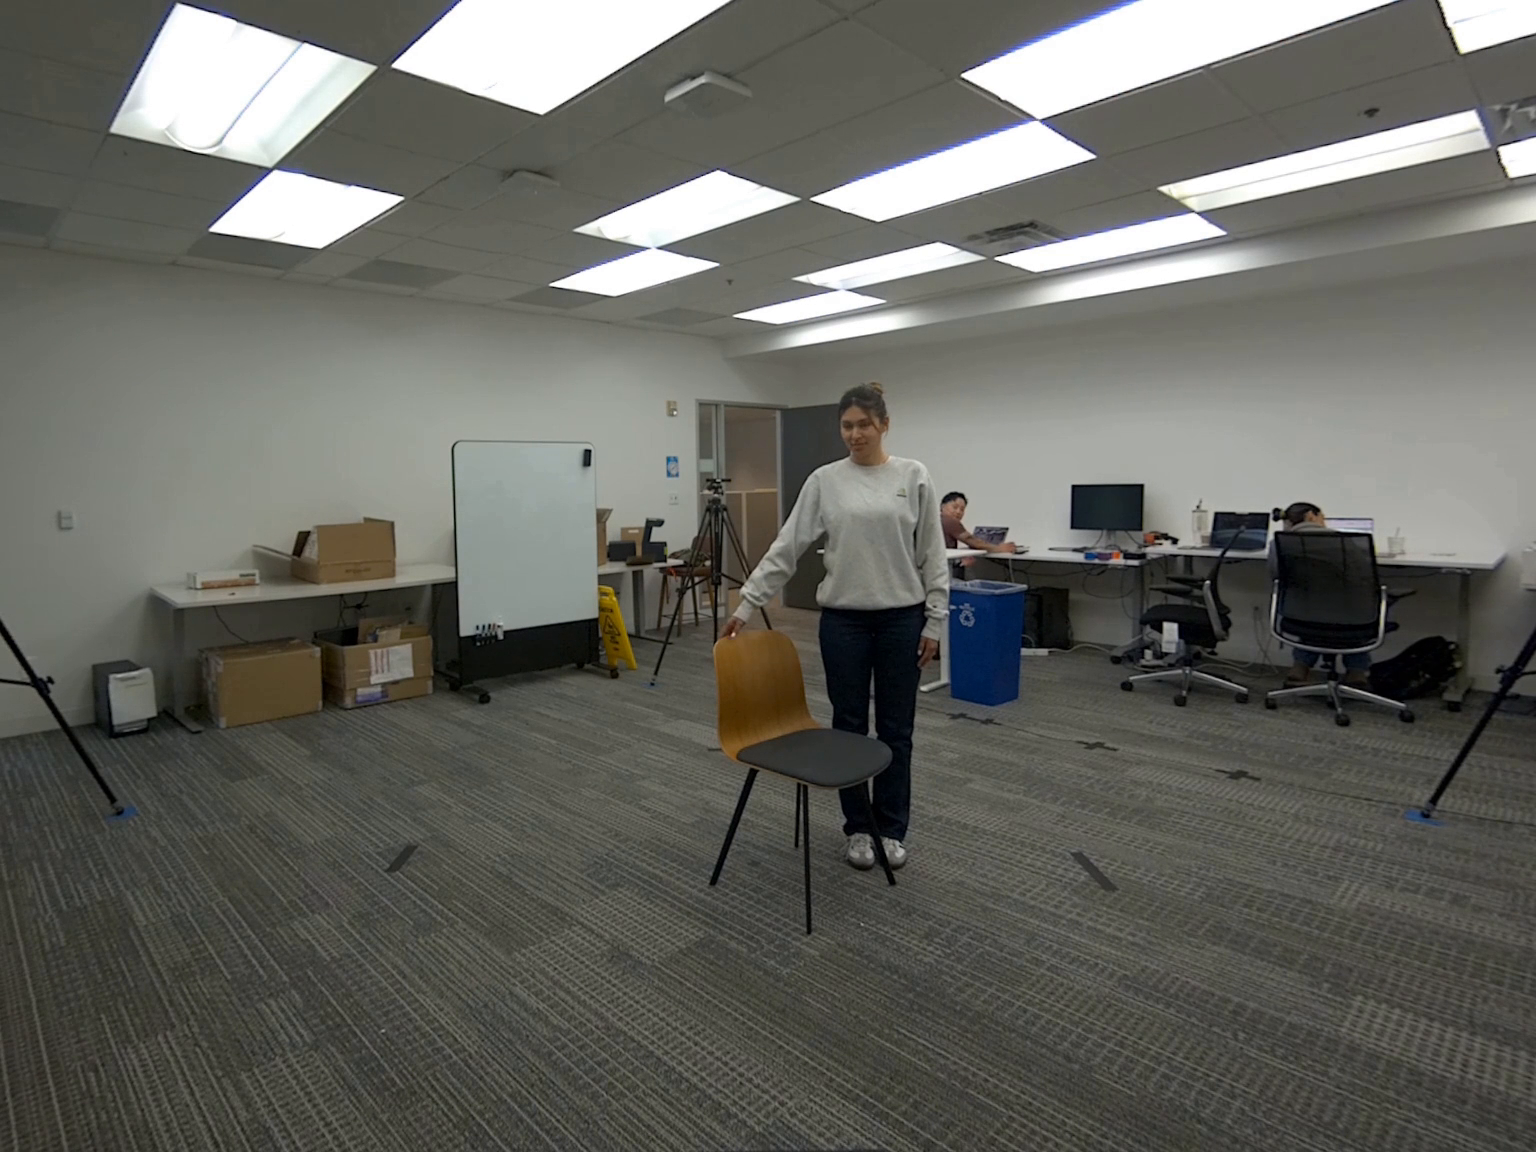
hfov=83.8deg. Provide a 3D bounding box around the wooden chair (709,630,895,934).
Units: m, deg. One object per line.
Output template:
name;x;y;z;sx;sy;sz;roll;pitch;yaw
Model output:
wooden chair;0.113;0.639;2.891;0.465;0.877;0.538;-5;1;-44
